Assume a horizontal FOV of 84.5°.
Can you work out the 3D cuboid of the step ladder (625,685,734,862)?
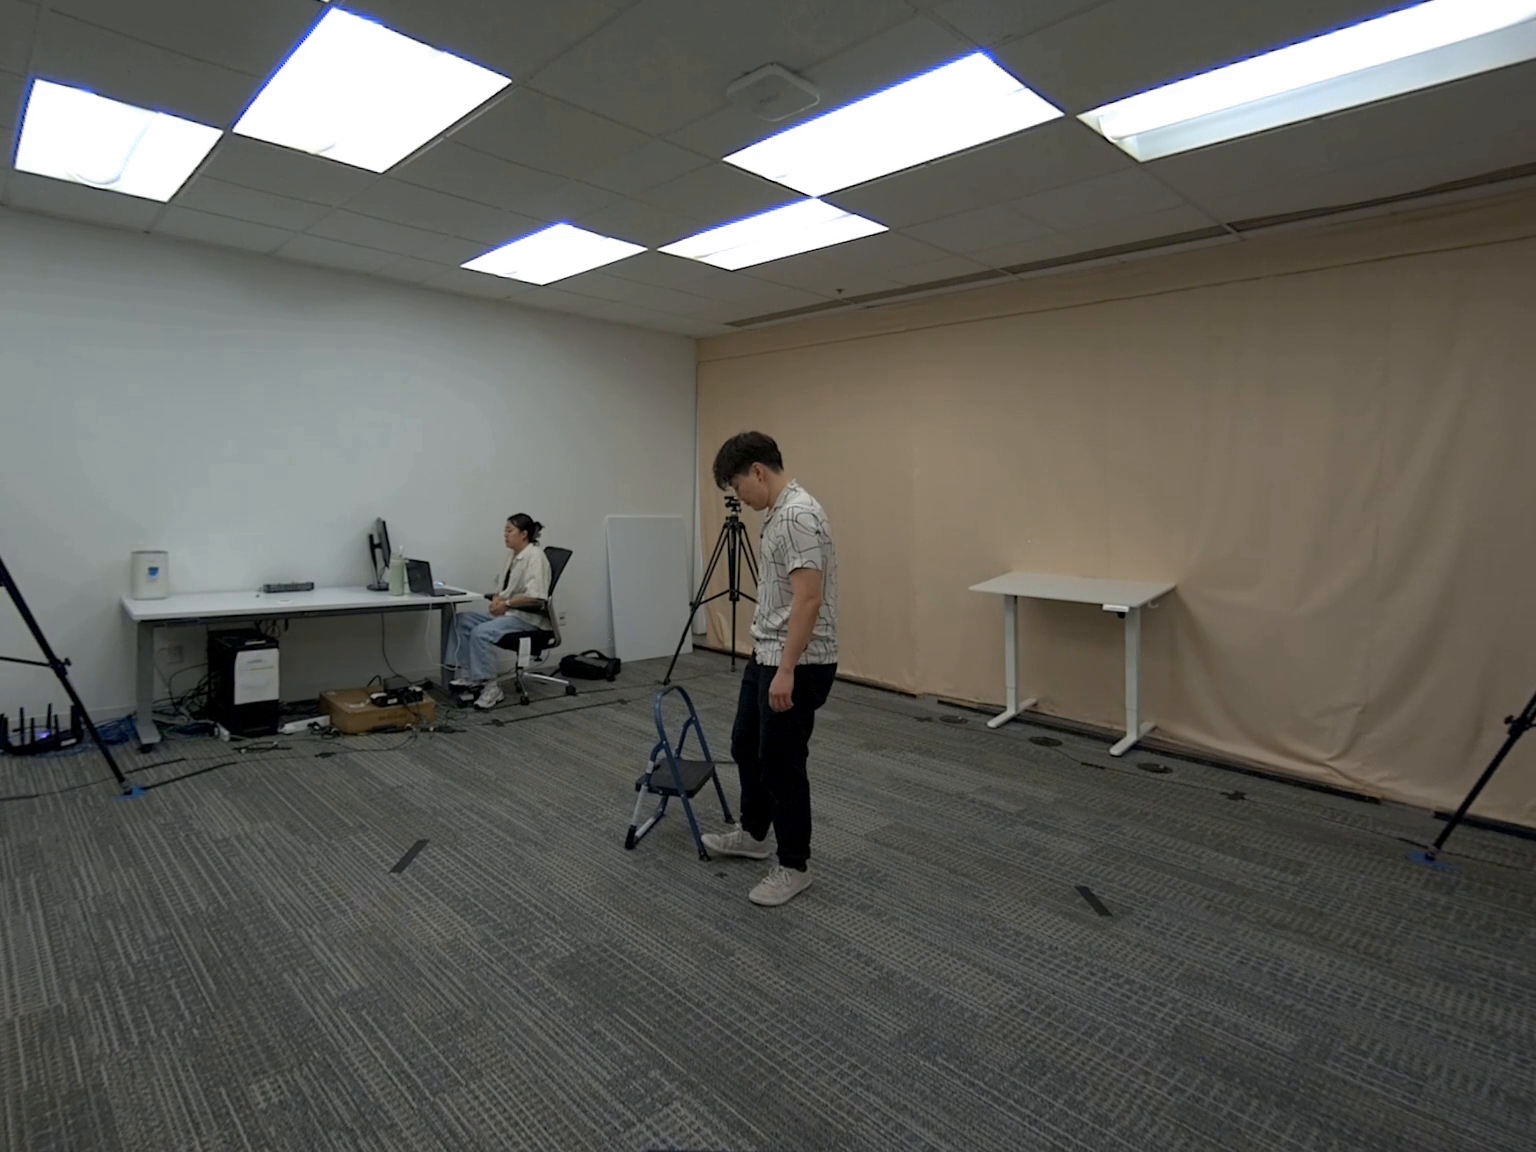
[{"bbox_3d":[-0.362,0.767,3.455,0.353,0.605,0.427,3,3,13],"label":"step ladder"}]
